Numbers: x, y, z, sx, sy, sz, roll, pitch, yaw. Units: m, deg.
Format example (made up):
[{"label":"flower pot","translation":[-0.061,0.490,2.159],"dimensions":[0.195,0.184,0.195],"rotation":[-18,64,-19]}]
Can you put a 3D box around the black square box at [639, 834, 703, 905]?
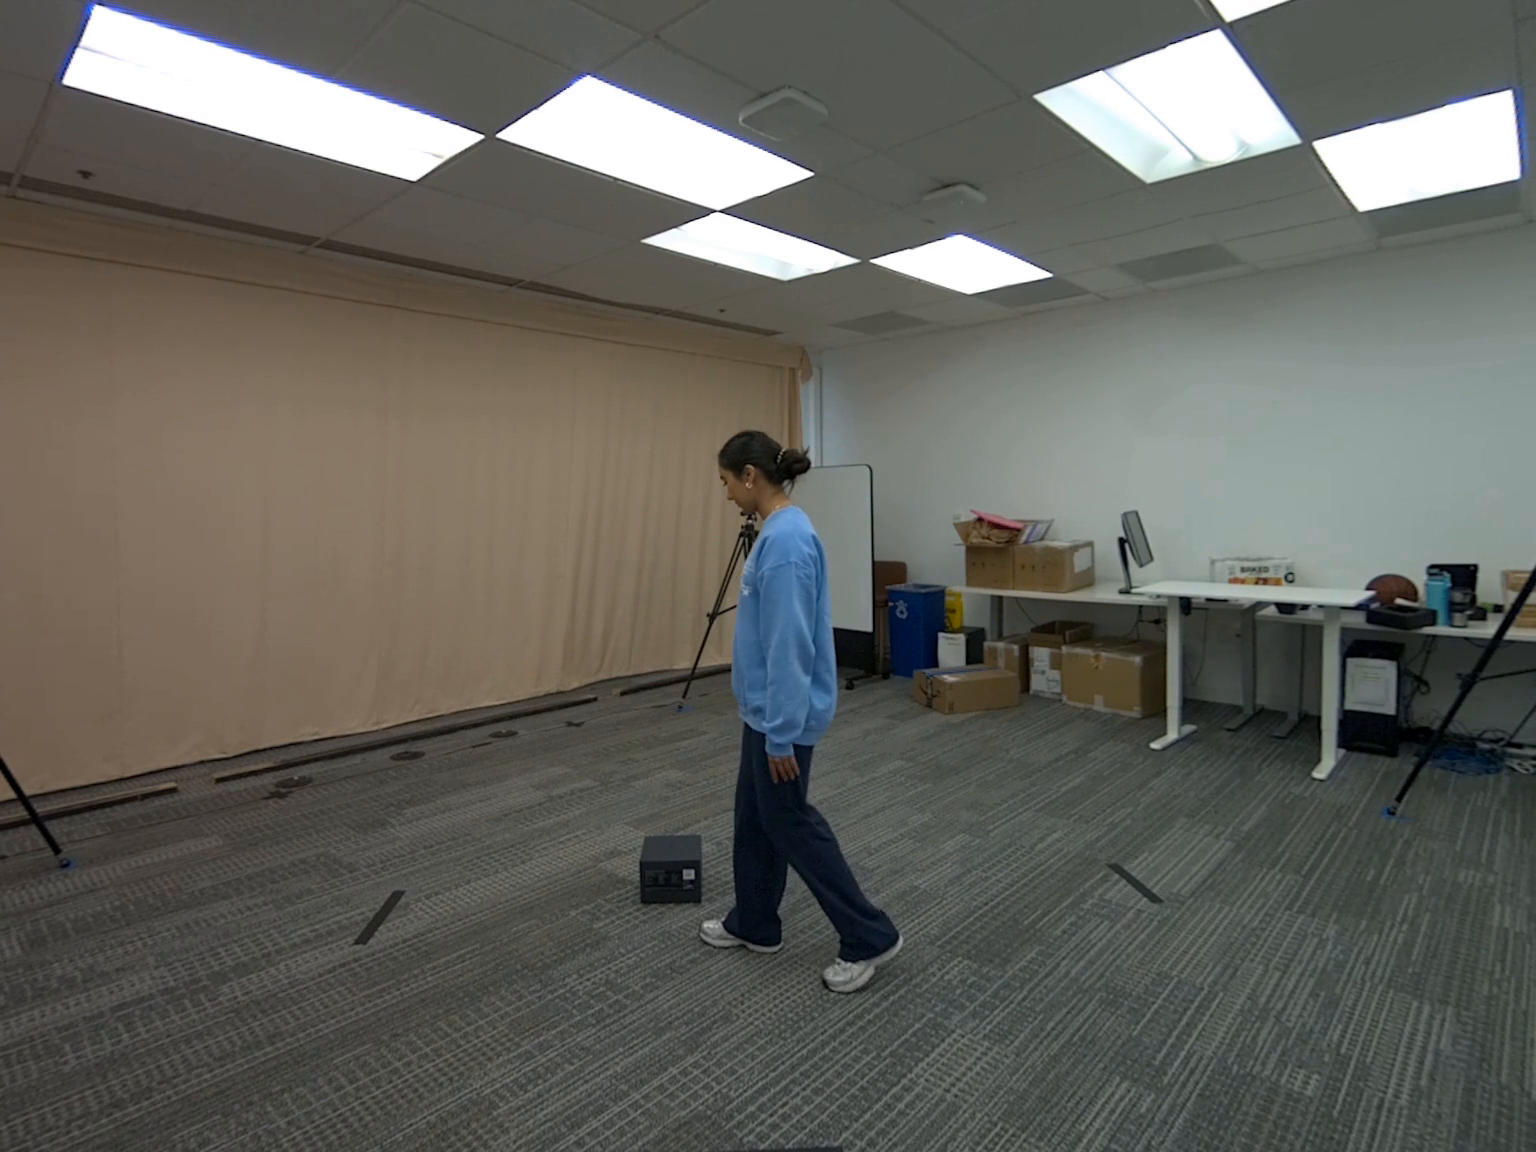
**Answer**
[{"label":"black square box","translation":[-0.349,1.054,3.057],"dimensions":[0.217,0.155,0.229],"rotation":[-2,4,-2]}]
